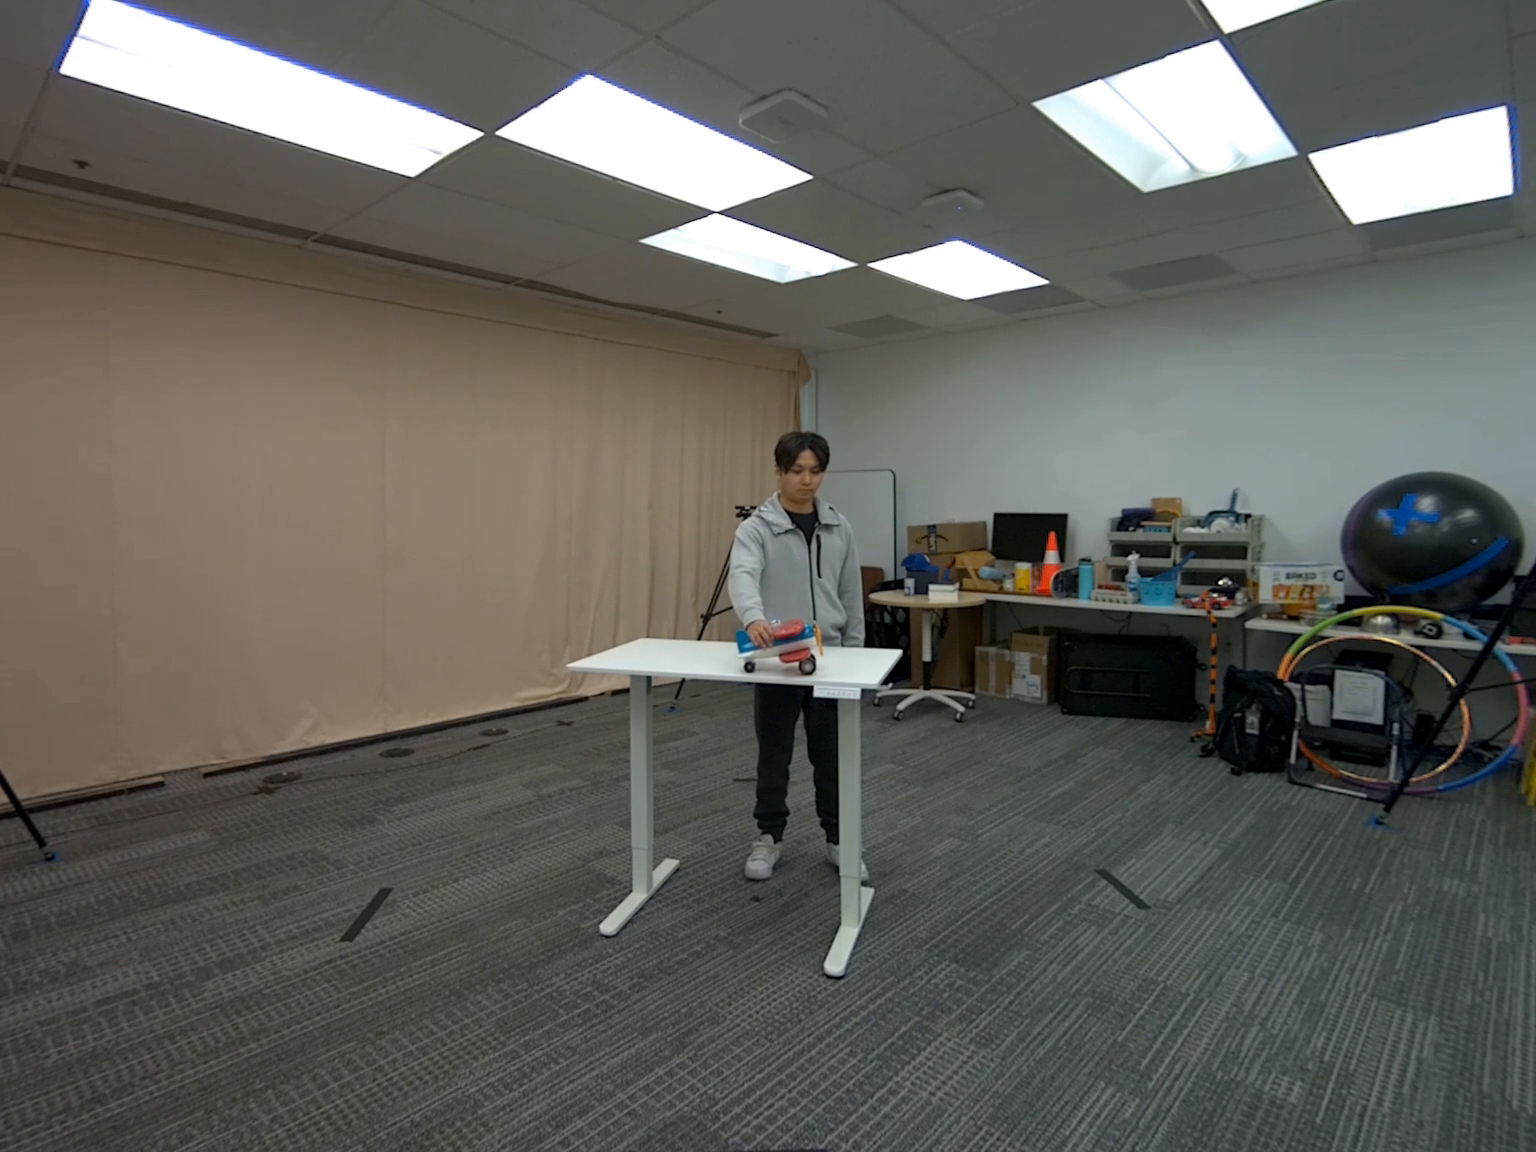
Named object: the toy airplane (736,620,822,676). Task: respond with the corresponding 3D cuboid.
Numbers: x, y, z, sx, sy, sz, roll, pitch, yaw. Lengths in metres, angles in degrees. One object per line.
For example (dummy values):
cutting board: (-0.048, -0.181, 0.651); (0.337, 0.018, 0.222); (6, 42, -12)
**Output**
toy airplane: (0.044, 0.221, 2.553); (0.253, 0.156, 0.257); (-3, 3, -25)
